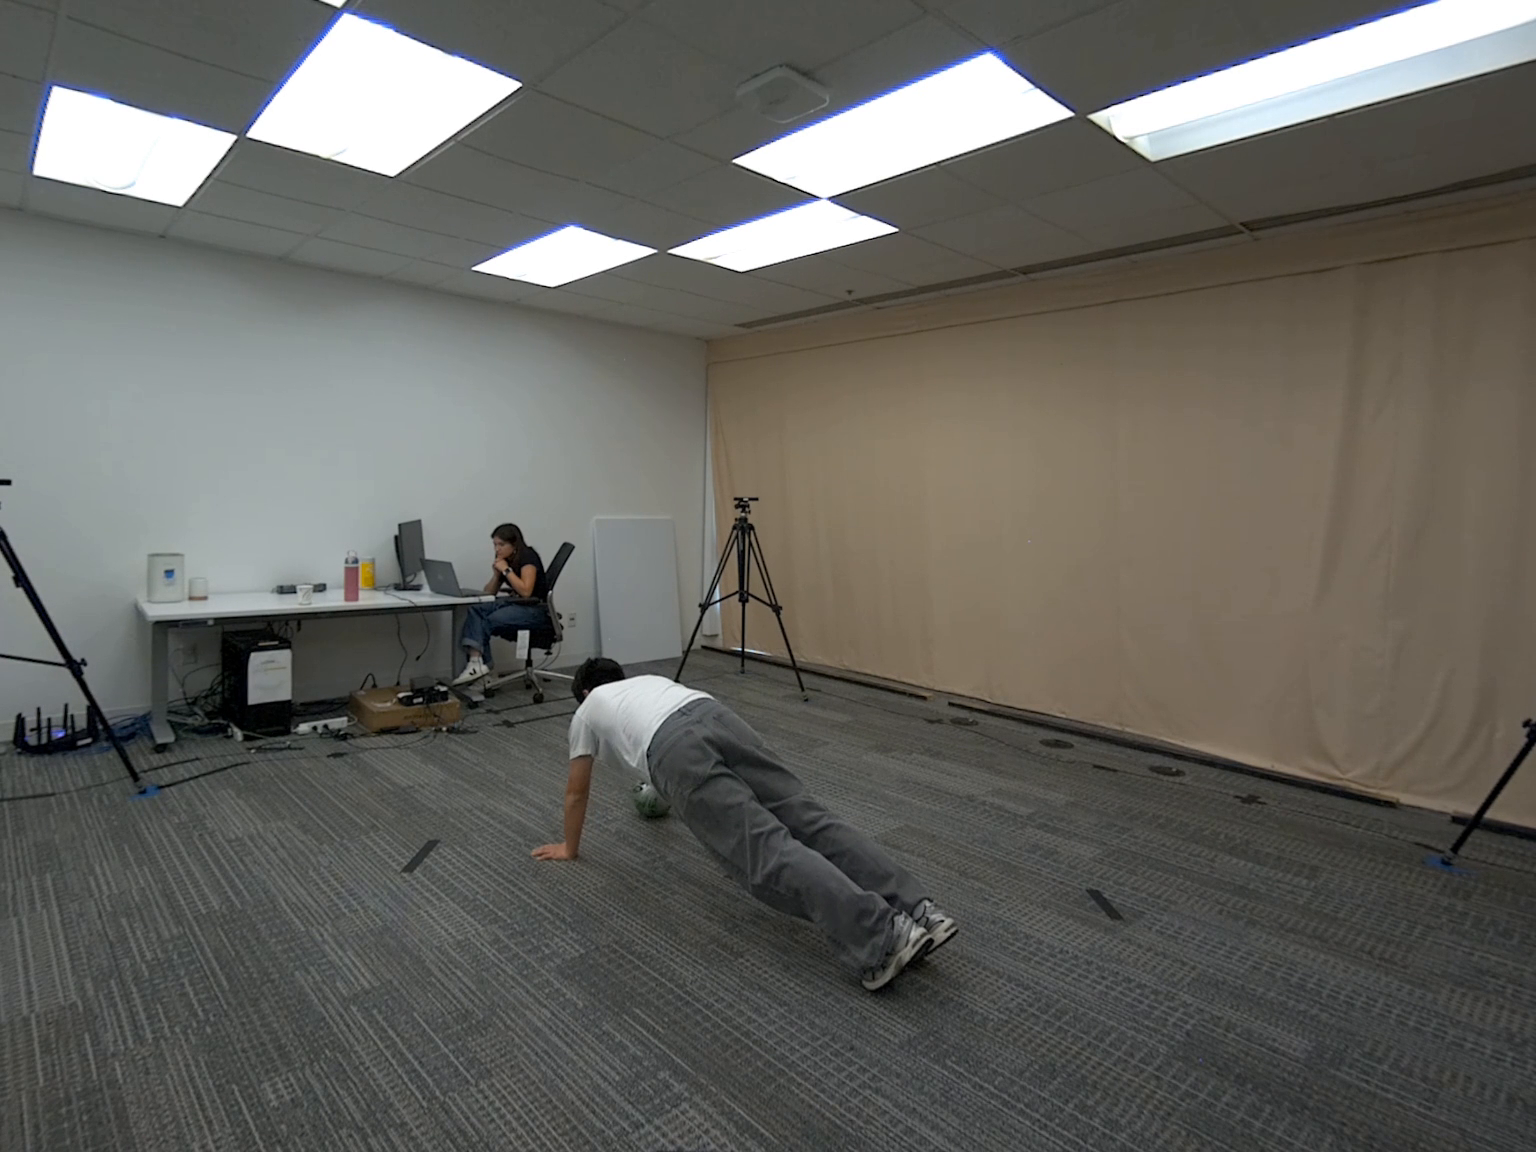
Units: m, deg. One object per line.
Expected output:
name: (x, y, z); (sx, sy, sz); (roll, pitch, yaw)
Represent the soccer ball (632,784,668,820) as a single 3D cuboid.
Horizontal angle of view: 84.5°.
soccer ball: (-0.509, 0.963, 3.684); (0.187, 0.187, 0.188); (1, 4, -1)
